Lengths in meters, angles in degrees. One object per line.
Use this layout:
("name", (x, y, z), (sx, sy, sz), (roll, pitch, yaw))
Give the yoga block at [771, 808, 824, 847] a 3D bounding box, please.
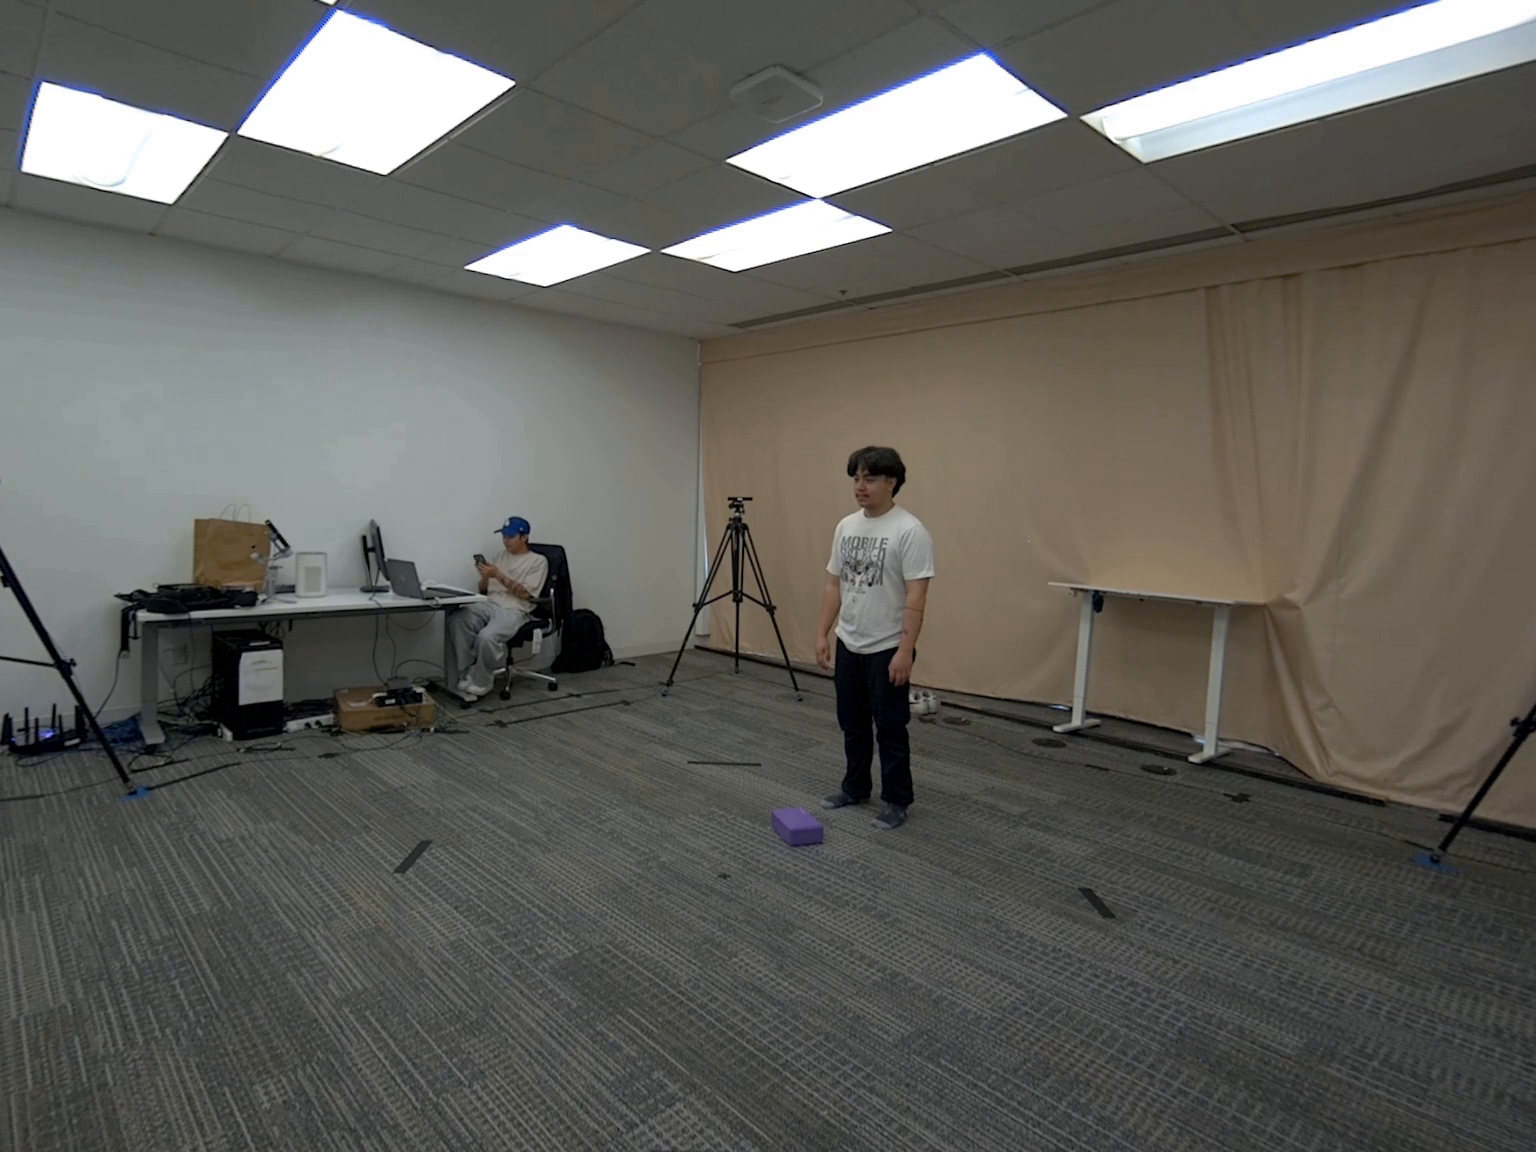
("yoga block", (0.110, 1.038, 3.504), (0.147, 0.076, 0.233), (-1, 5, -18))
